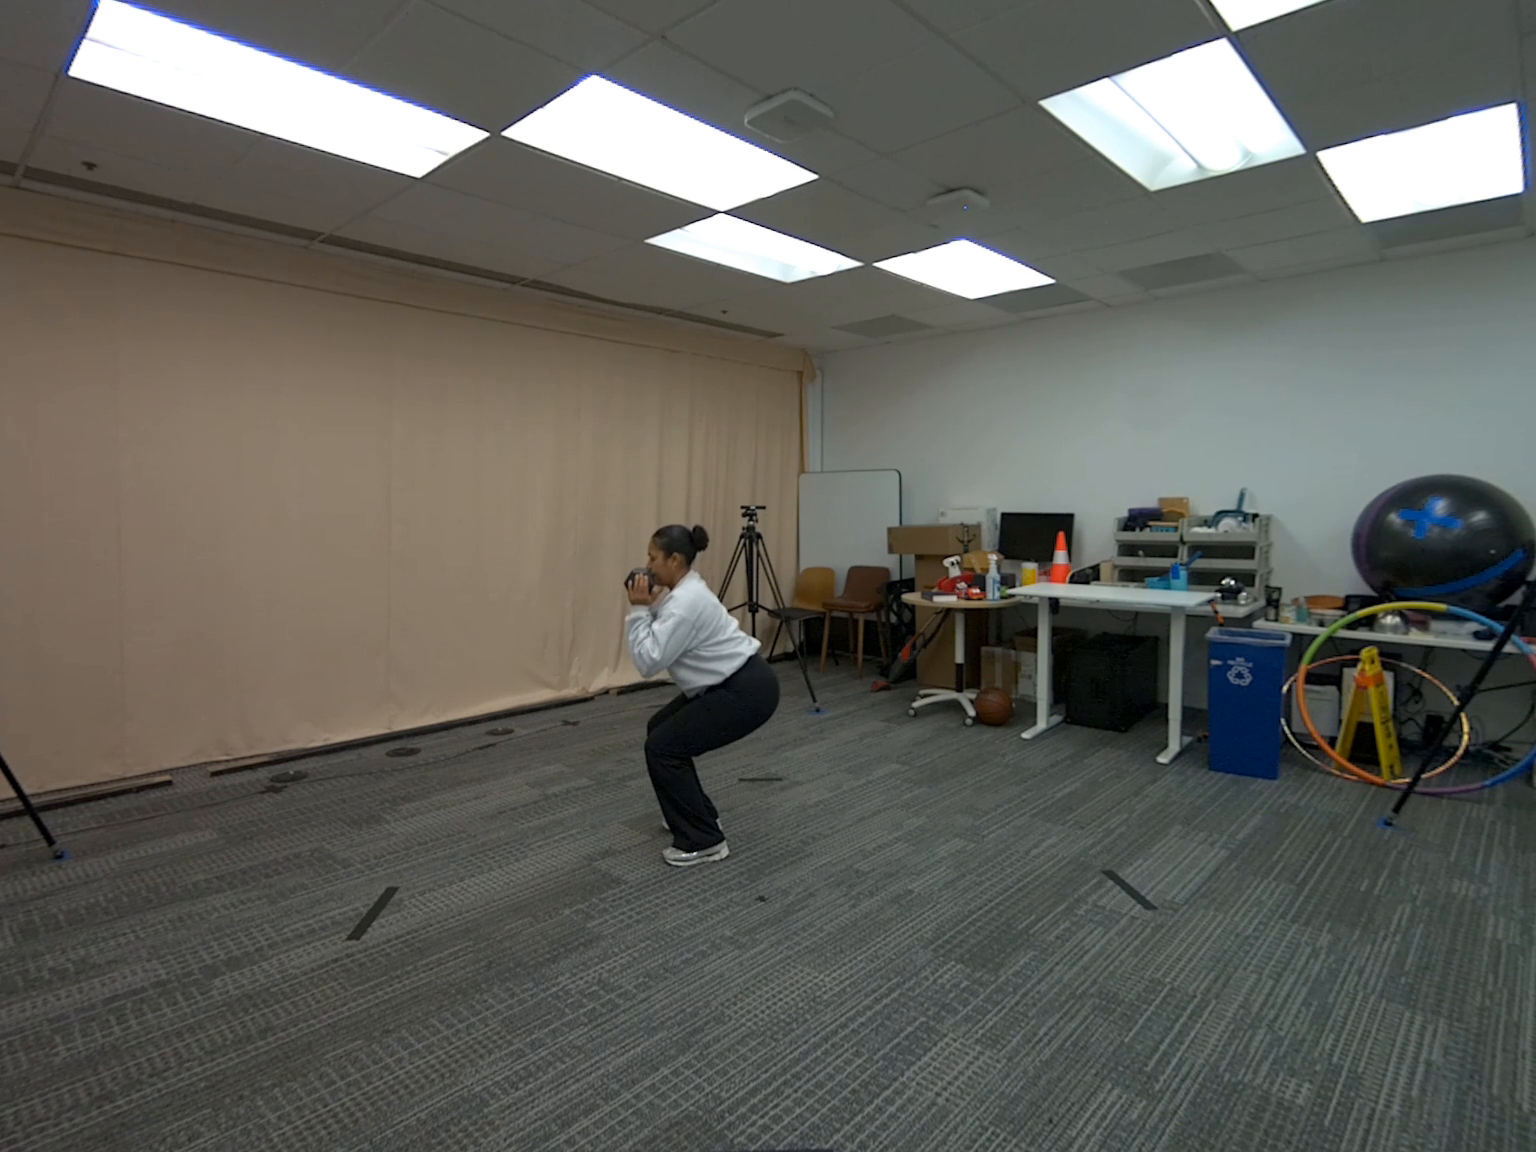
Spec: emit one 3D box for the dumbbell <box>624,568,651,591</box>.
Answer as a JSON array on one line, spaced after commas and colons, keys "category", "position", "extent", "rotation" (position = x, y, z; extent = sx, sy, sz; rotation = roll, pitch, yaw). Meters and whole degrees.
[{"category": "dumbbell", "position": [-0.506, 0.024, 3.412], "extent": [0.108, 0.123, 0.295], "rotation": [34, -2, -5]}]
